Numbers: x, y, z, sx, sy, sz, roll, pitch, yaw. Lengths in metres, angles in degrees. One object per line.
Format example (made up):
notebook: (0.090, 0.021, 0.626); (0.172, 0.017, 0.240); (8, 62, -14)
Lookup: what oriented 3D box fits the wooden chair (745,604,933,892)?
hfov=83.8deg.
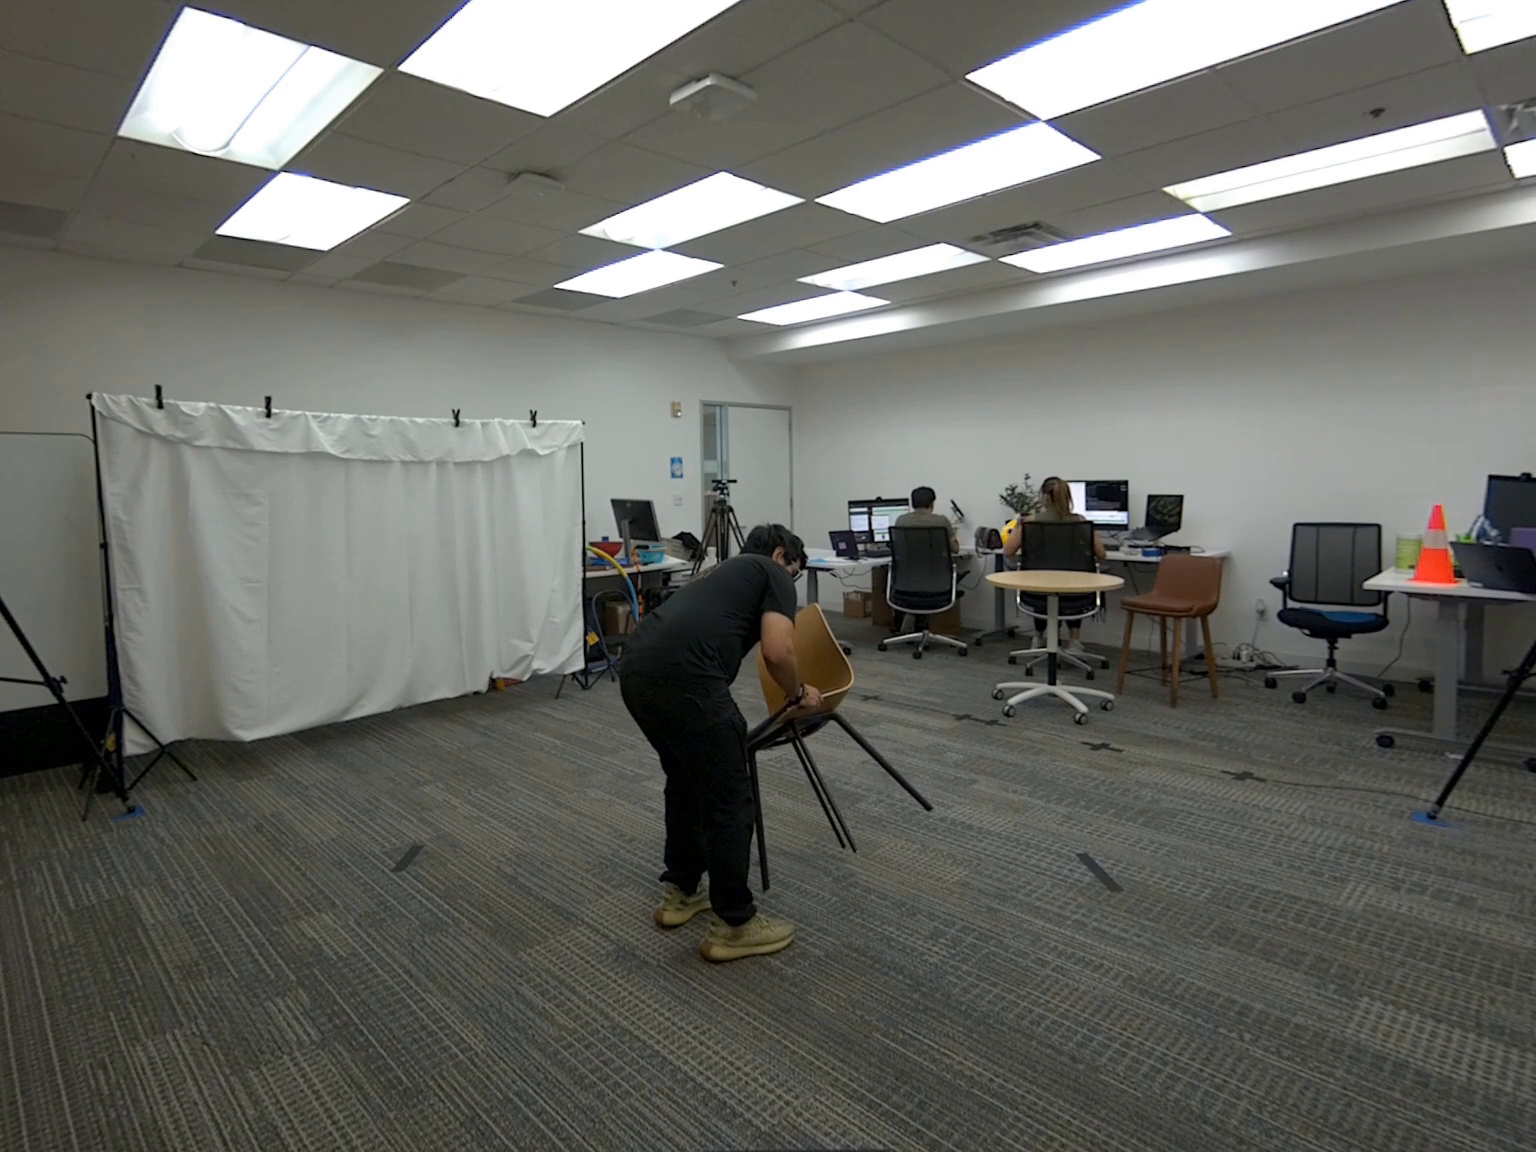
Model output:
wooden chair: (0.091, 0.550, 2.995); (0.508, 0.900, 0.480); (0, -30, -44)
